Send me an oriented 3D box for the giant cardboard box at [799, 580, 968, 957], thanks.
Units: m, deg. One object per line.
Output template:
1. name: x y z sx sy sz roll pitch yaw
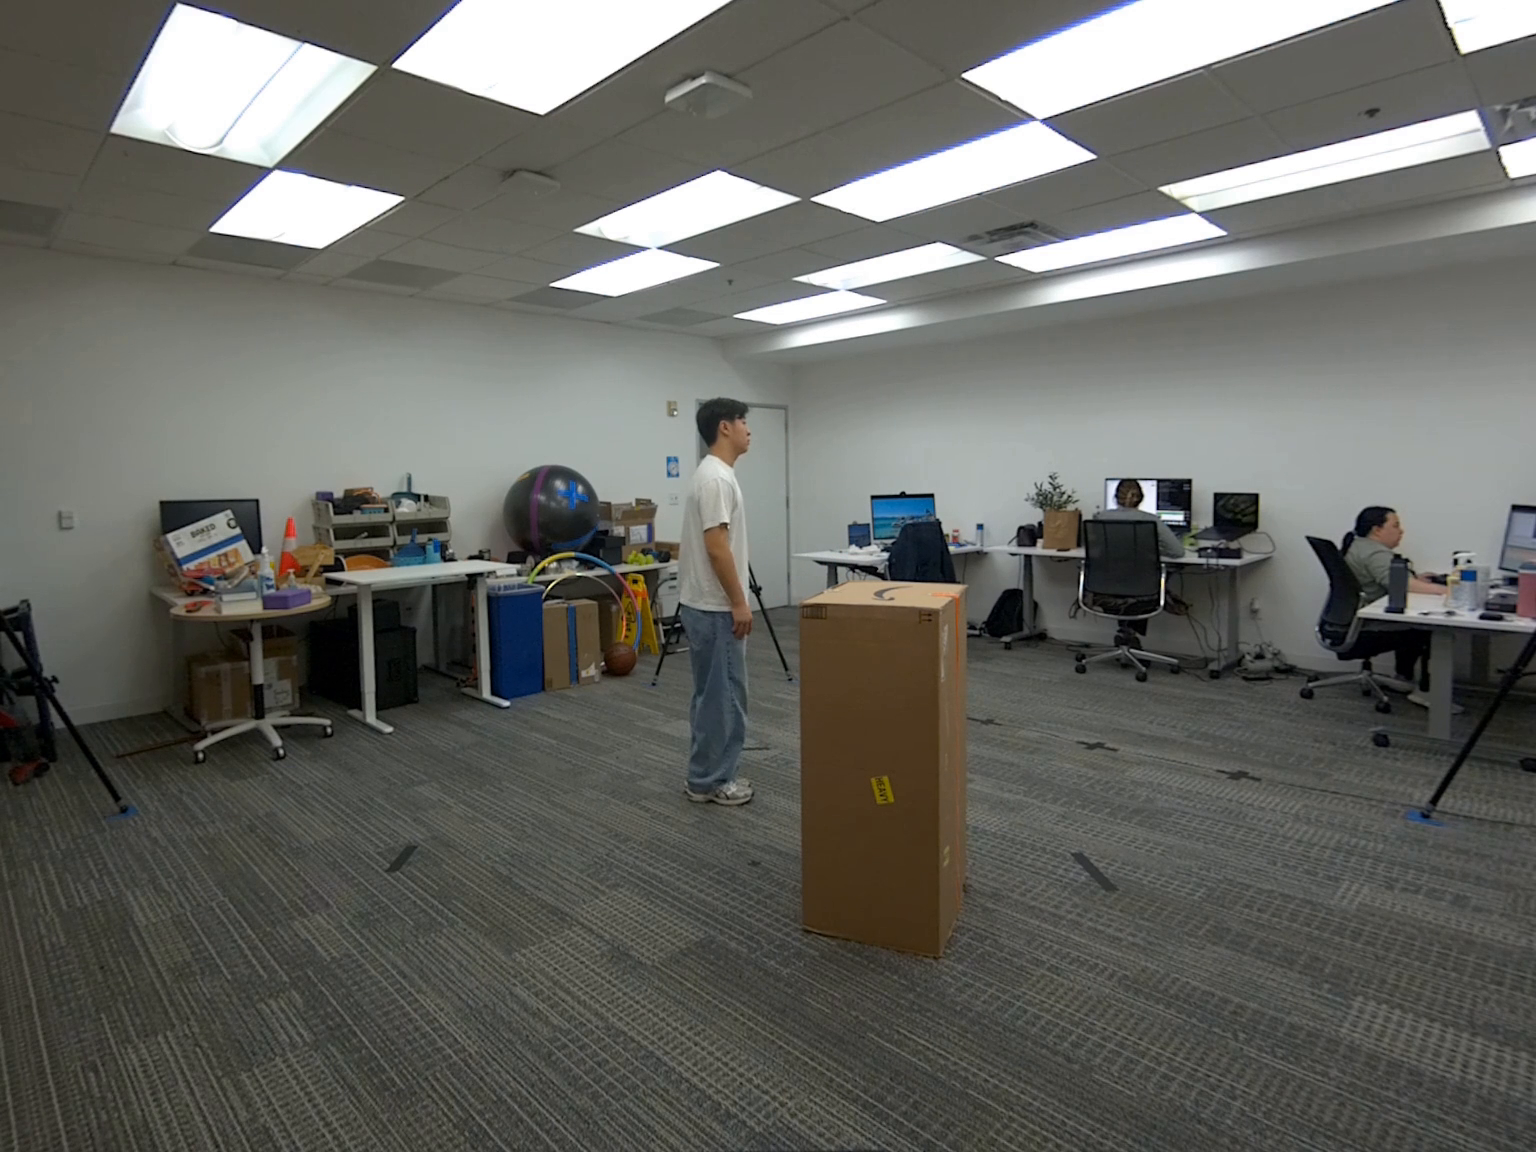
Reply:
1. giant cardboard box: 0.401 0.564 2.783 0.435 1.022 0.567 1 4 23
